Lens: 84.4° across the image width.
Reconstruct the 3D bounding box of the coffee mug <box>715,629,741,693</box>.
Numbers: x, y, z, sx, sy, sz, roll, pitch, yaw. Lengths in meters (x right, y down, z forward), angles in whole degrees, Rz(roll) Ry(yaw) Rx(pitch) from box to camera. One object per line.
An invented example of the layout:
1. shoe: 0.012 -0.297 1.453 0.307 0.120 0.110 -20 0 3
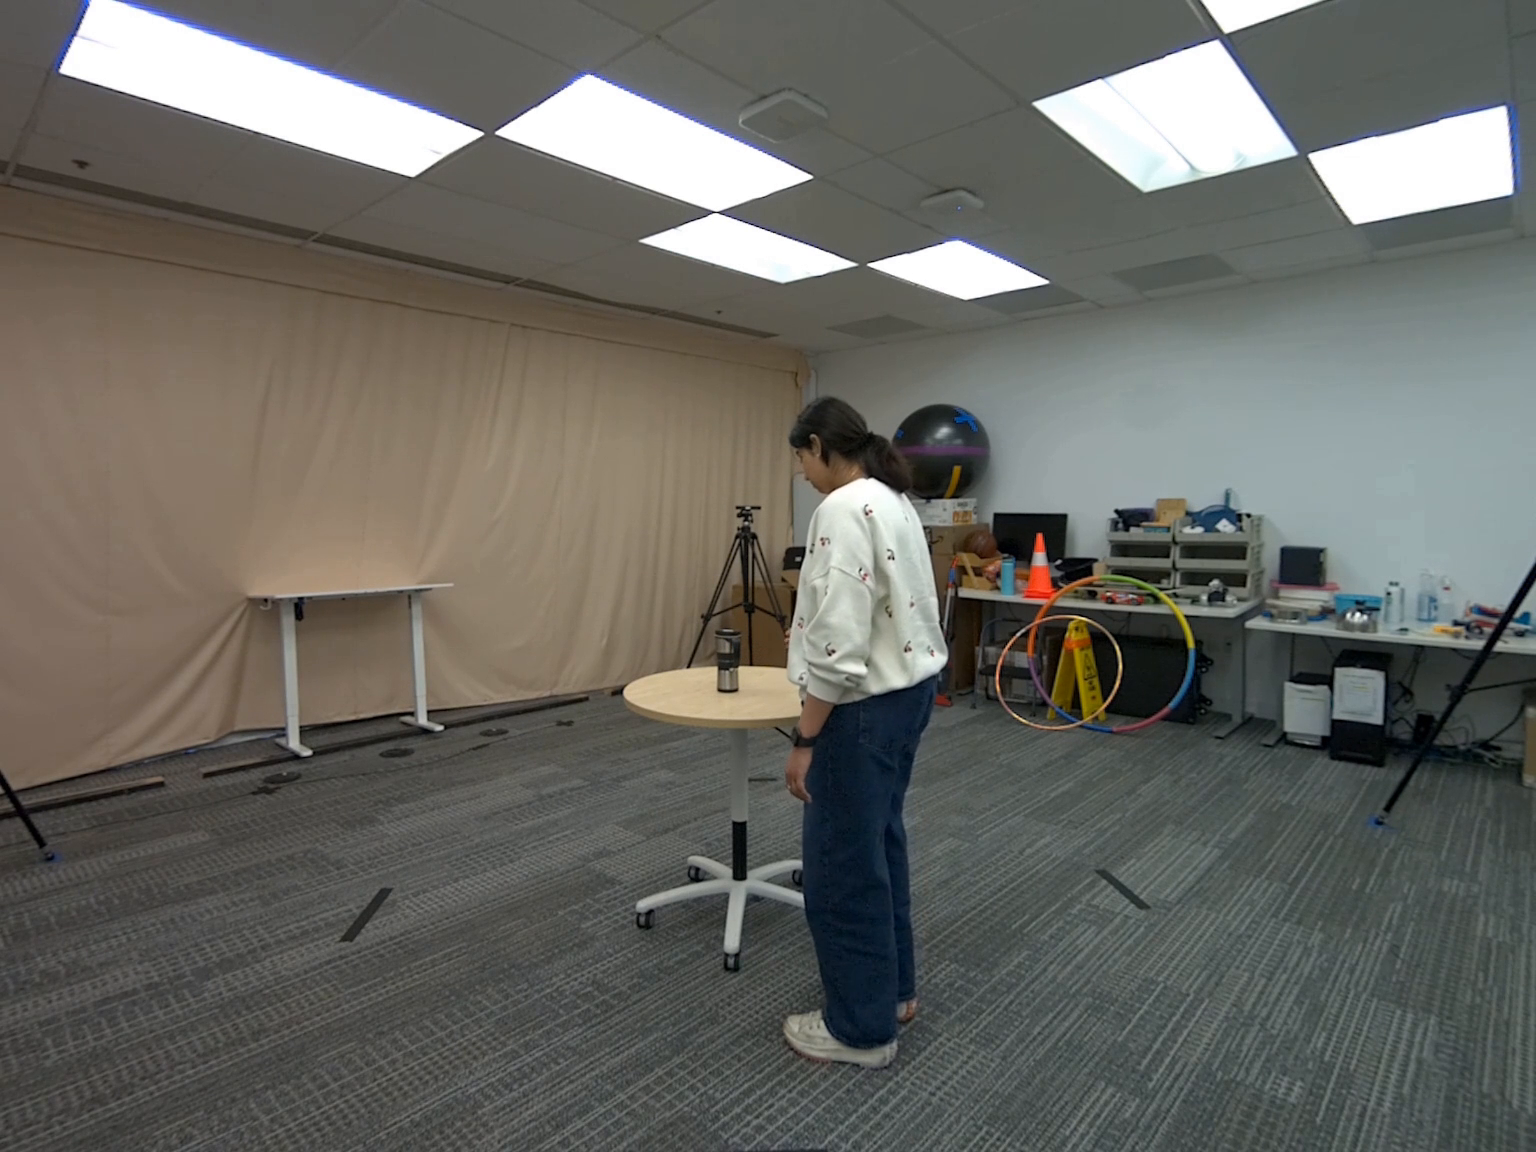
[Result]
1. coffee mug: -0.135 0.282 2.753 0.089 0.203 0.120 2 1 15
